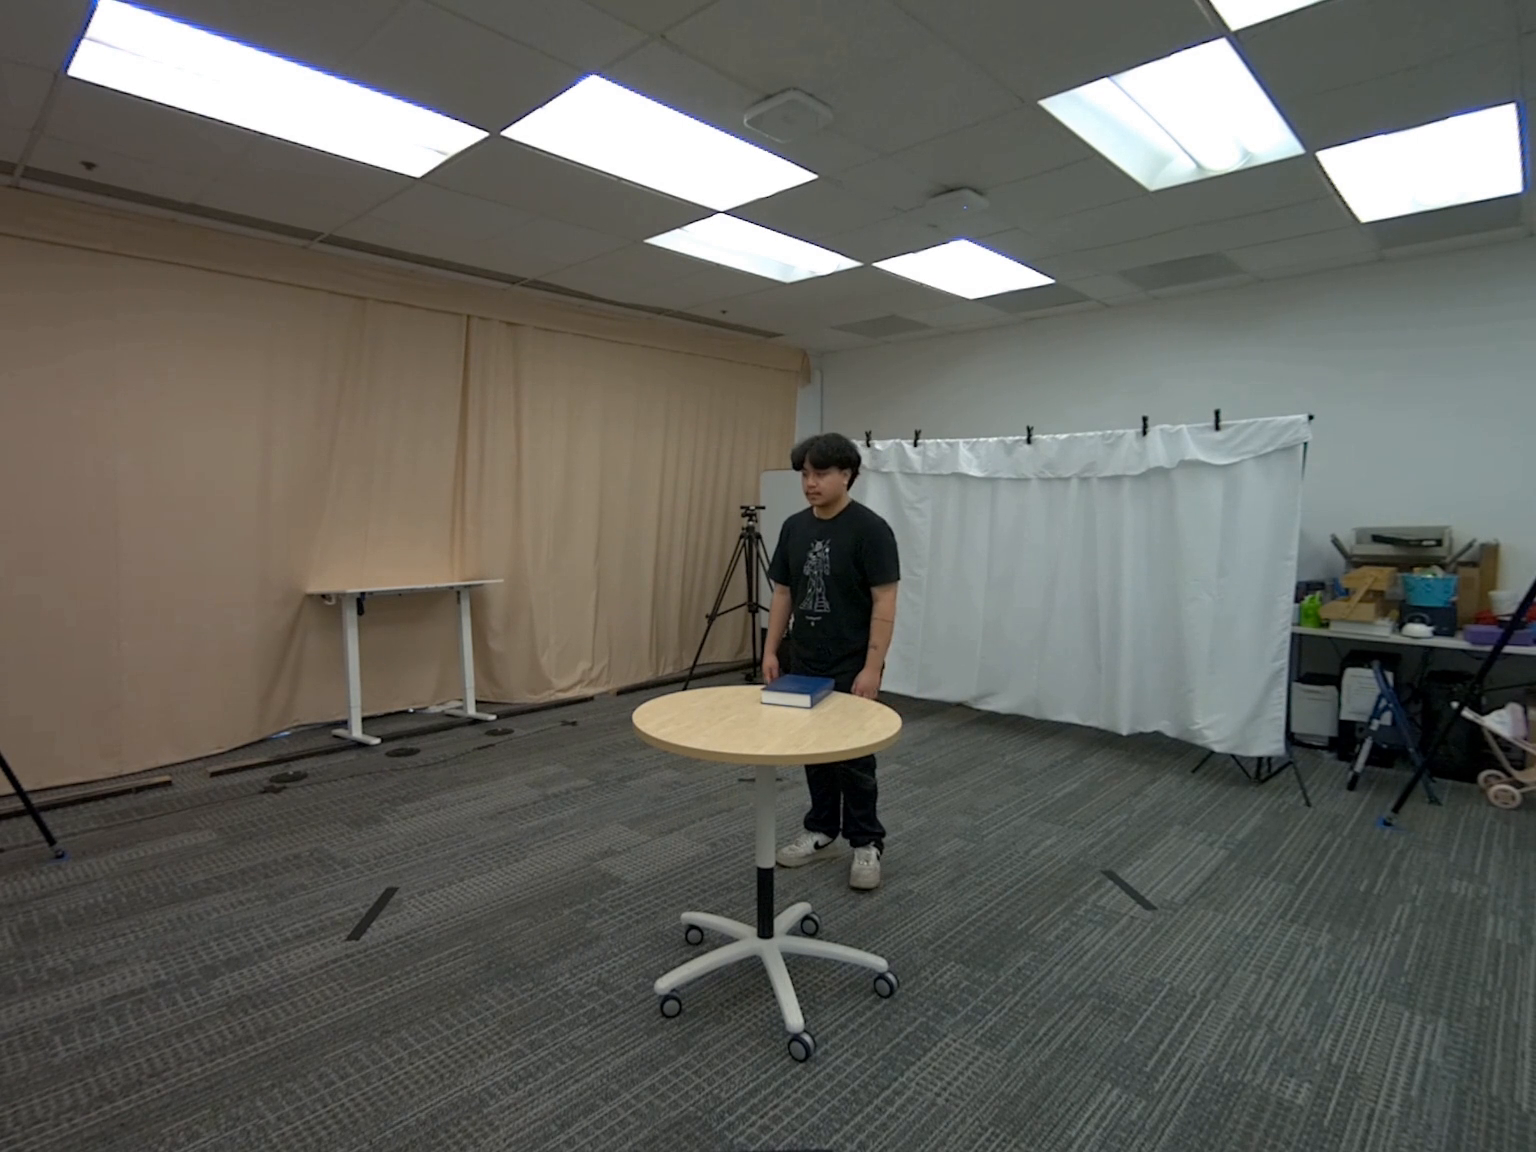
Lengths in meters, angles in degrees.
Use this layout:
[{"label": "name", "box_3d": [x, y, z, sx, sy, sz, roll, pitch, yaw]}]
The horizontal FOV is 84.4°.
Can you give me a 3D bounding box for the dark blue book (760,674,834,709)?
[{"label": "dark blue book", "box_3d": [0.096, 0.358, 2.629, 0.167, 0.045, 0.240, 2, 6, 22]}]
